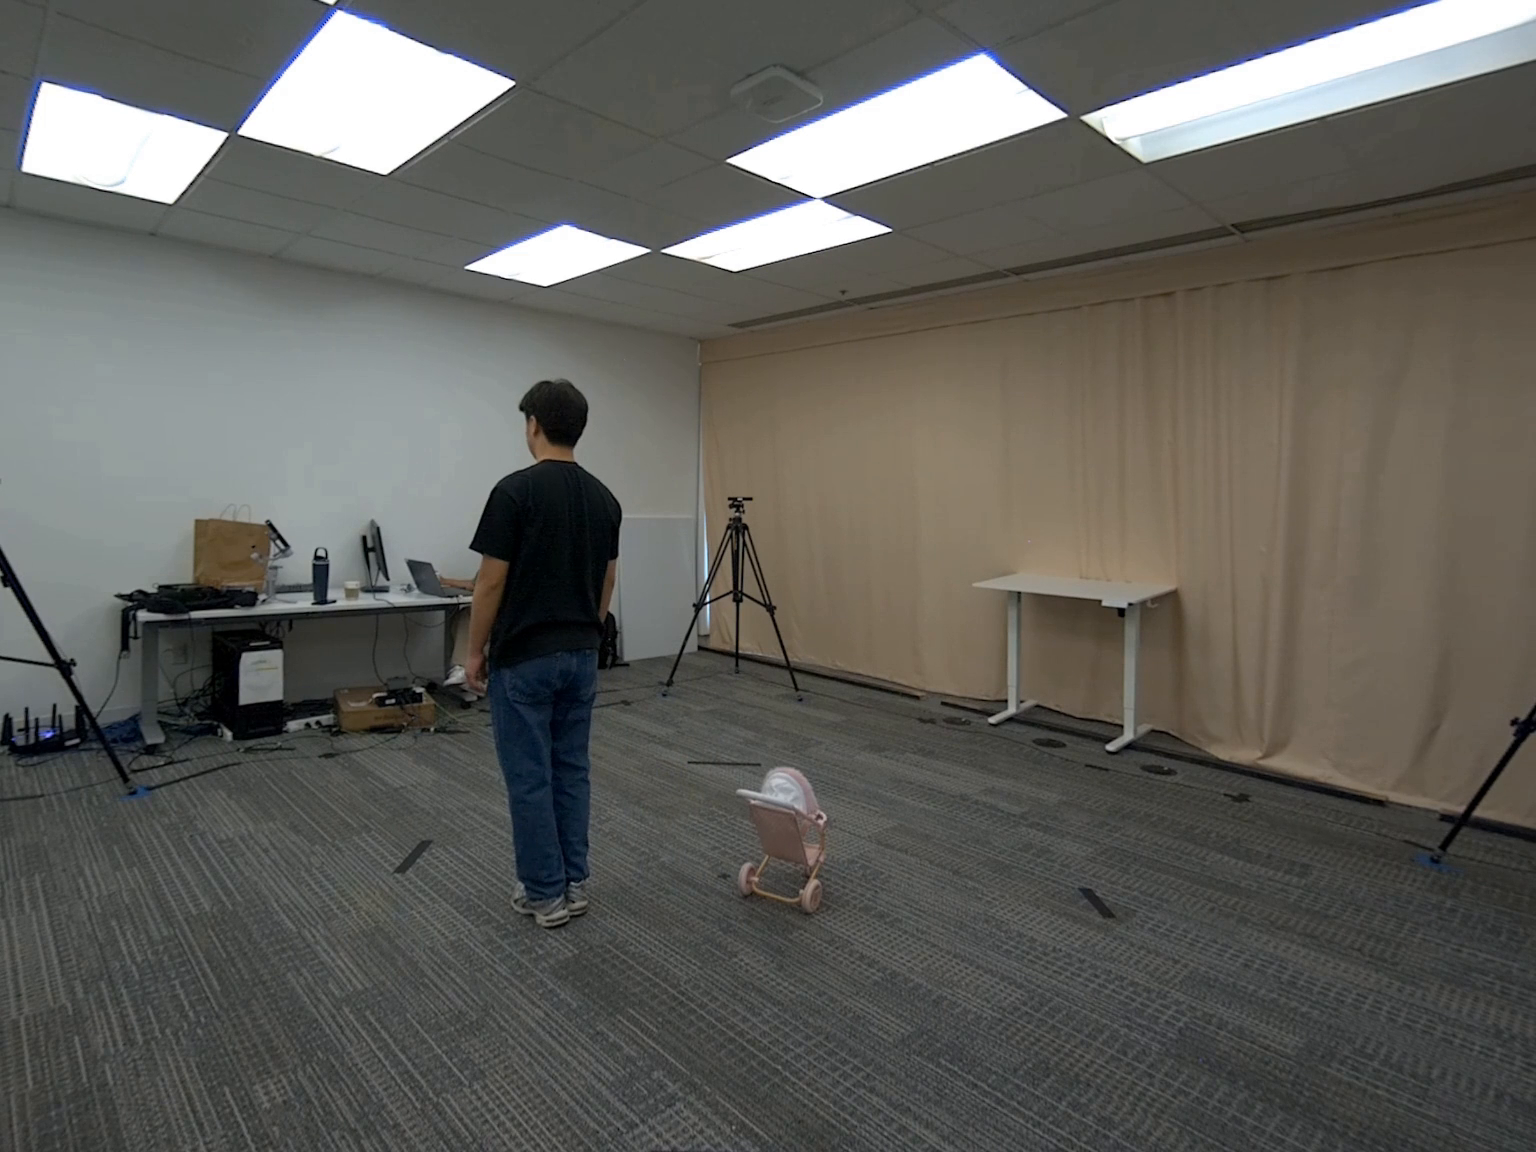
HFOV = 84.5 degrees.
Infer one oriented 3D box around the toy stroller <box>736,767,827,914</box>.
[{"bbox_3d":[0.063,0.899,2.950,0.288,0.528,0.338,5,20,33],"label":"toy stroller"}]
